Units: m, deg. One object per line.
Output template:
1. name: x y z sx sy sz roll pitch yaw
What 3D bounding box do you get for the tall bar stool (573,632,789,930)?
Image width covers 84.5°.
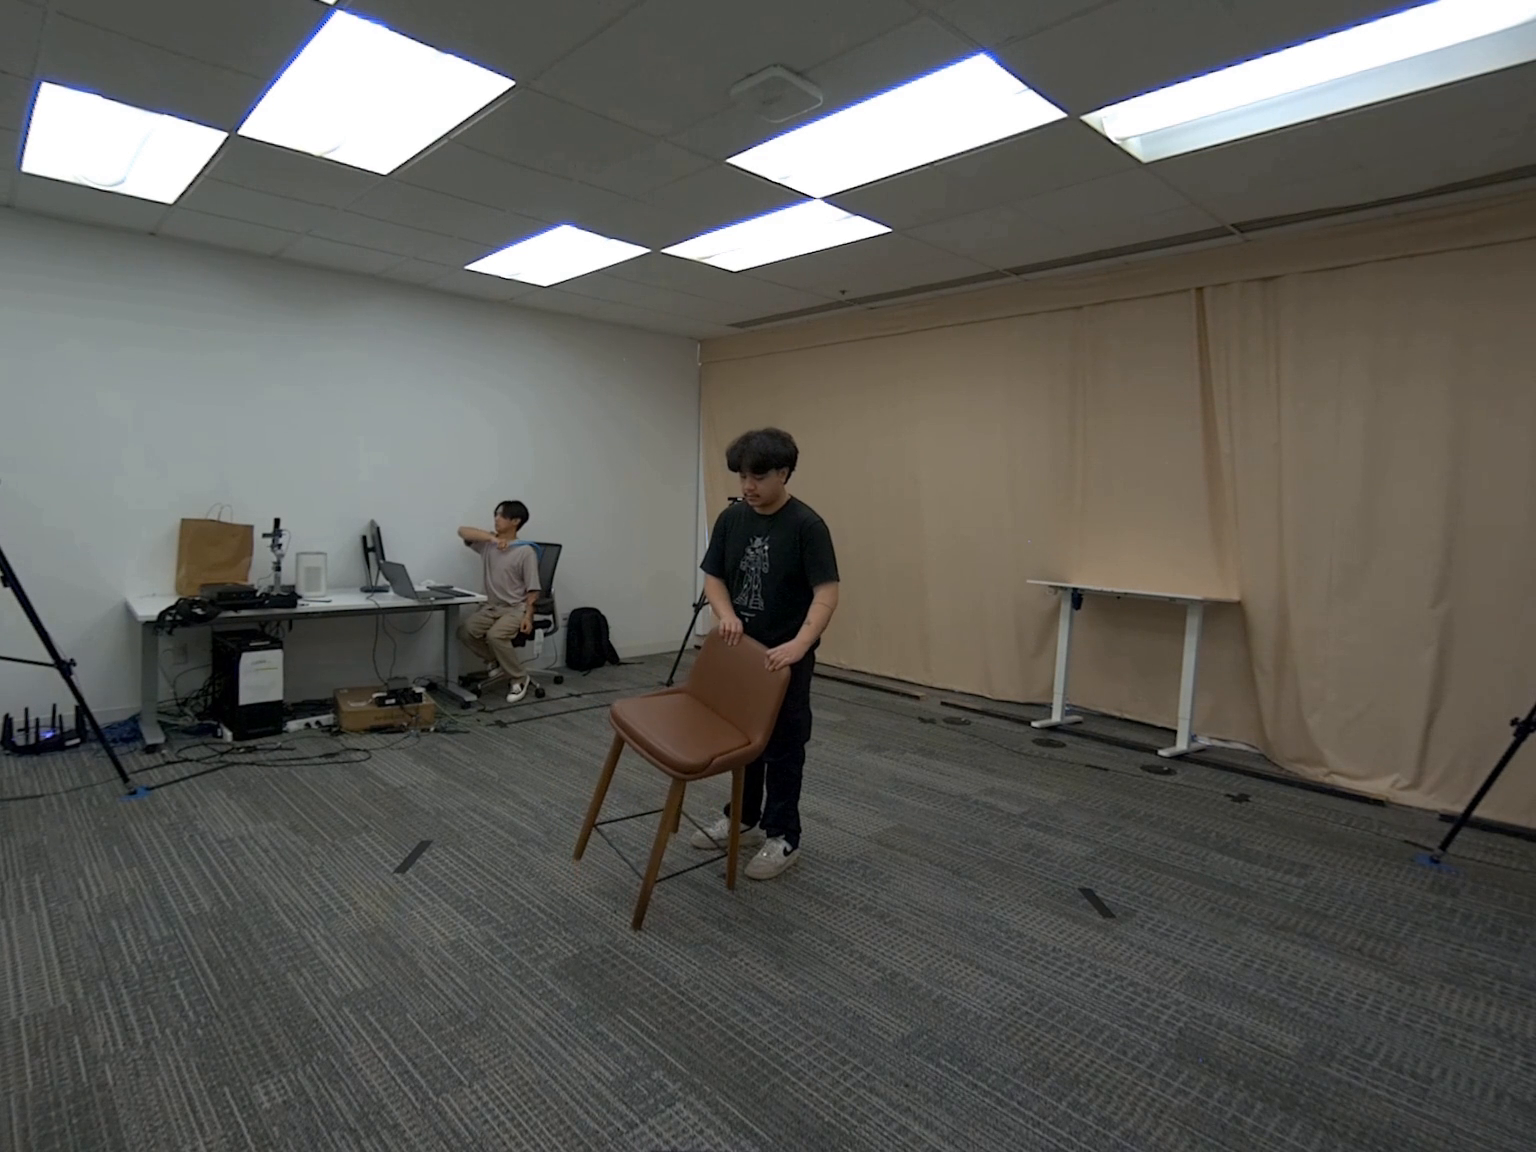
1. tall bar stool: -0.302 0.659 2.873 0.456 0.884 0.471 3 18 -43
